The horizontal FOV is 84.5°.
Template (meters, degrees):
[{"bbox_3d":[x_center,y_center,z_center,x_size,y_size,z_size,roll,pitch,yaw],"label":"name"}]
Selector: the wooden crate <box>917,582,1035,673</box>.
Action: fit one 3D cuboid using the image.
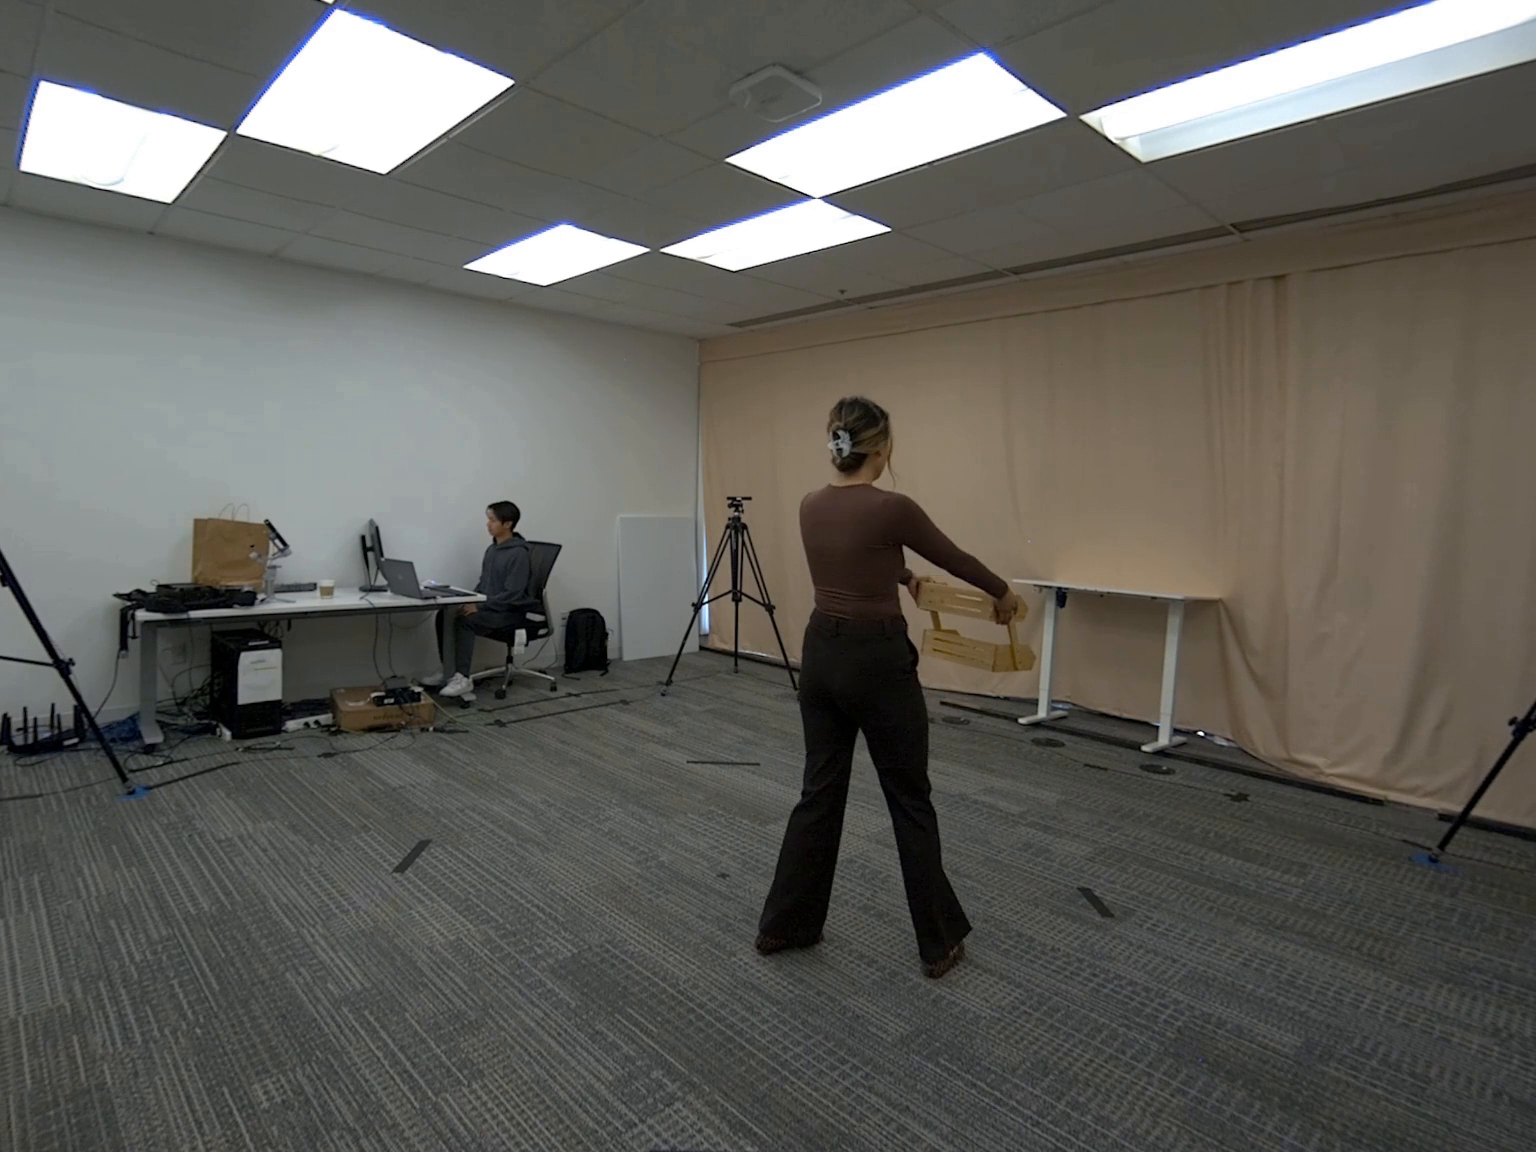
[{"bbox_3d":[0.723,0.169,2.931,0.294,0.273,0.333,3,4,-42],"label":"wooden crate"}]
